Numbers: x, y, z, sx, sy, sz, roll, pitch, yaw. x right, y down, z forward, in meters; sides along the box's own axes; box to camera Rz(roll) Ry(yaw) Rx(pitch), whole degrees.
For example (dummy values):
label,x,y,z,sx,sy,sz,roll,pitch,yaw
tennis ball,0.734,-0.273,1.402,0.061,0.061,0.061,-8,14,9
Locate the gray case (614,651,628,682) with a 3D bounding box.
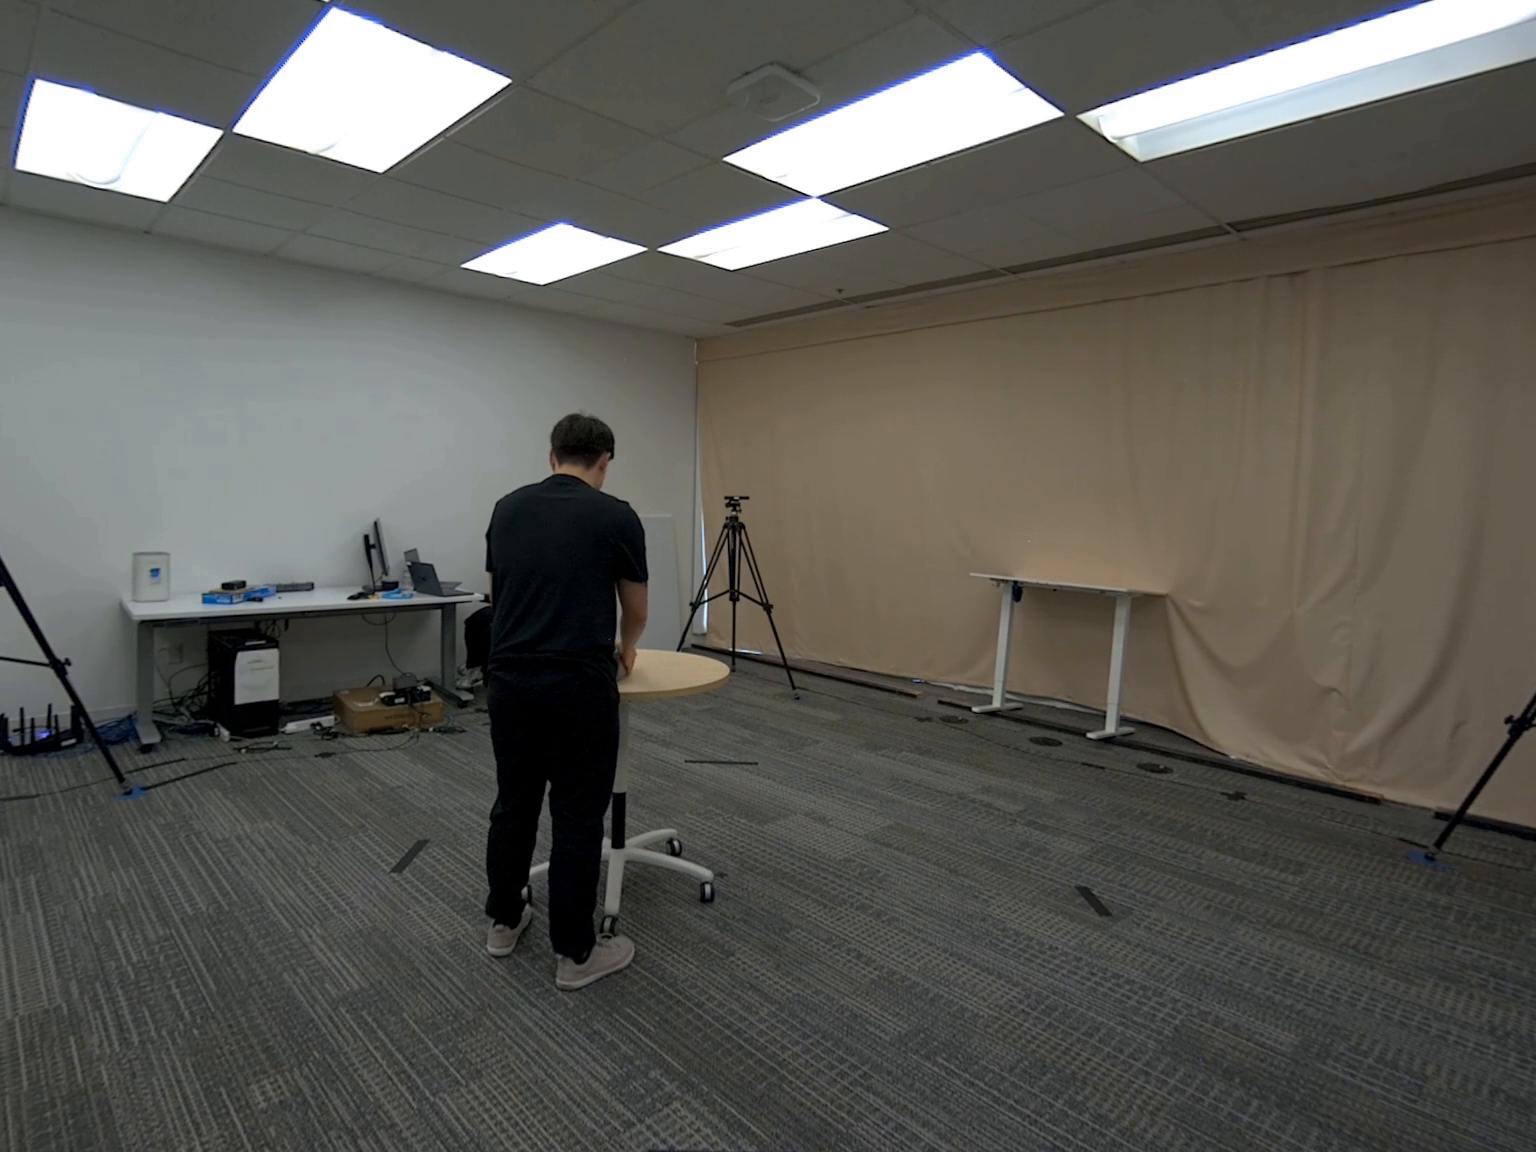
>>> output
label,x,y,z,sx,sy,sz,roll,pitch,yaw
gray case,-0.589,0.283,2.853,0.258,0.104,0.260,0,5,3
